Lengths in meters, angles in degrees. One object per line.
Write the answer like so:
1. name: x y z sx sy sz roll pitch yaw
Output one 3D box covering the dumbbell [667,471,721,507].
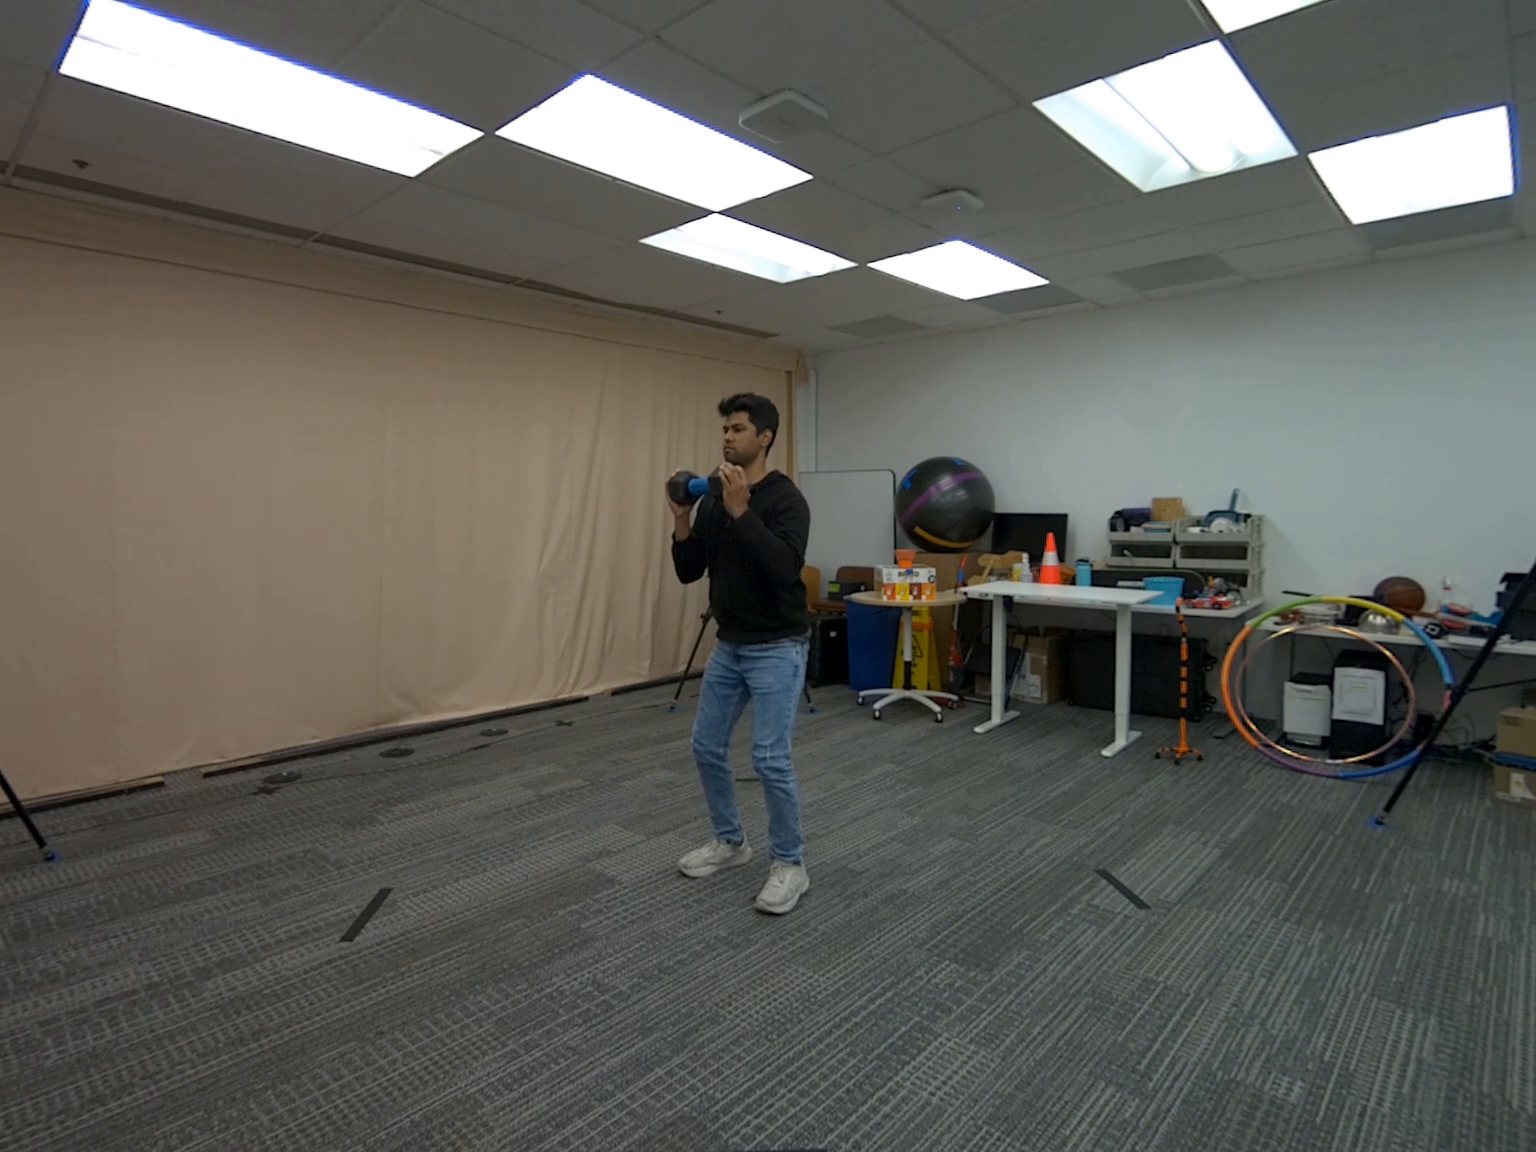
1. dumbbell: -0.207 -0.295 2.908 0.106 0.122 0.303 -11 7 -42
